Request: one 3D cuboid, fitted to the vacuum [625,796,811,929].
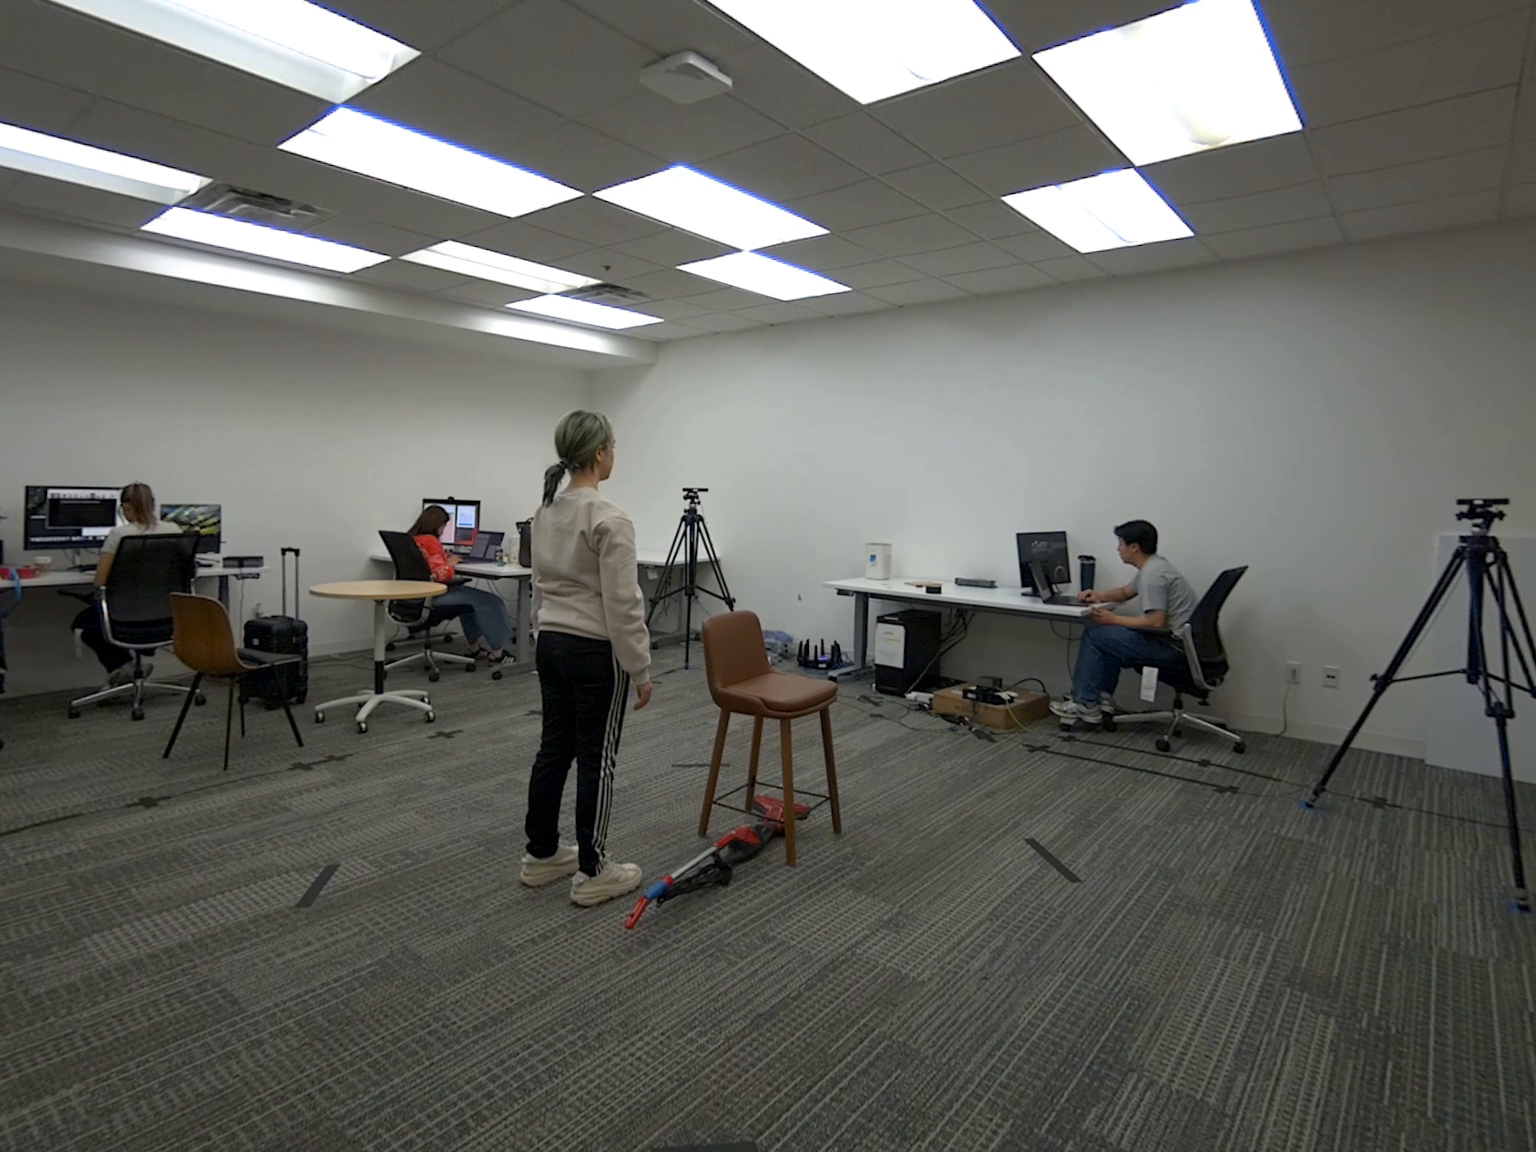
[{"bbox_3d":[-0.193,1.031,3.033,0.259,0.143,1.025,1,6,26],"label":"vacuum"}]
